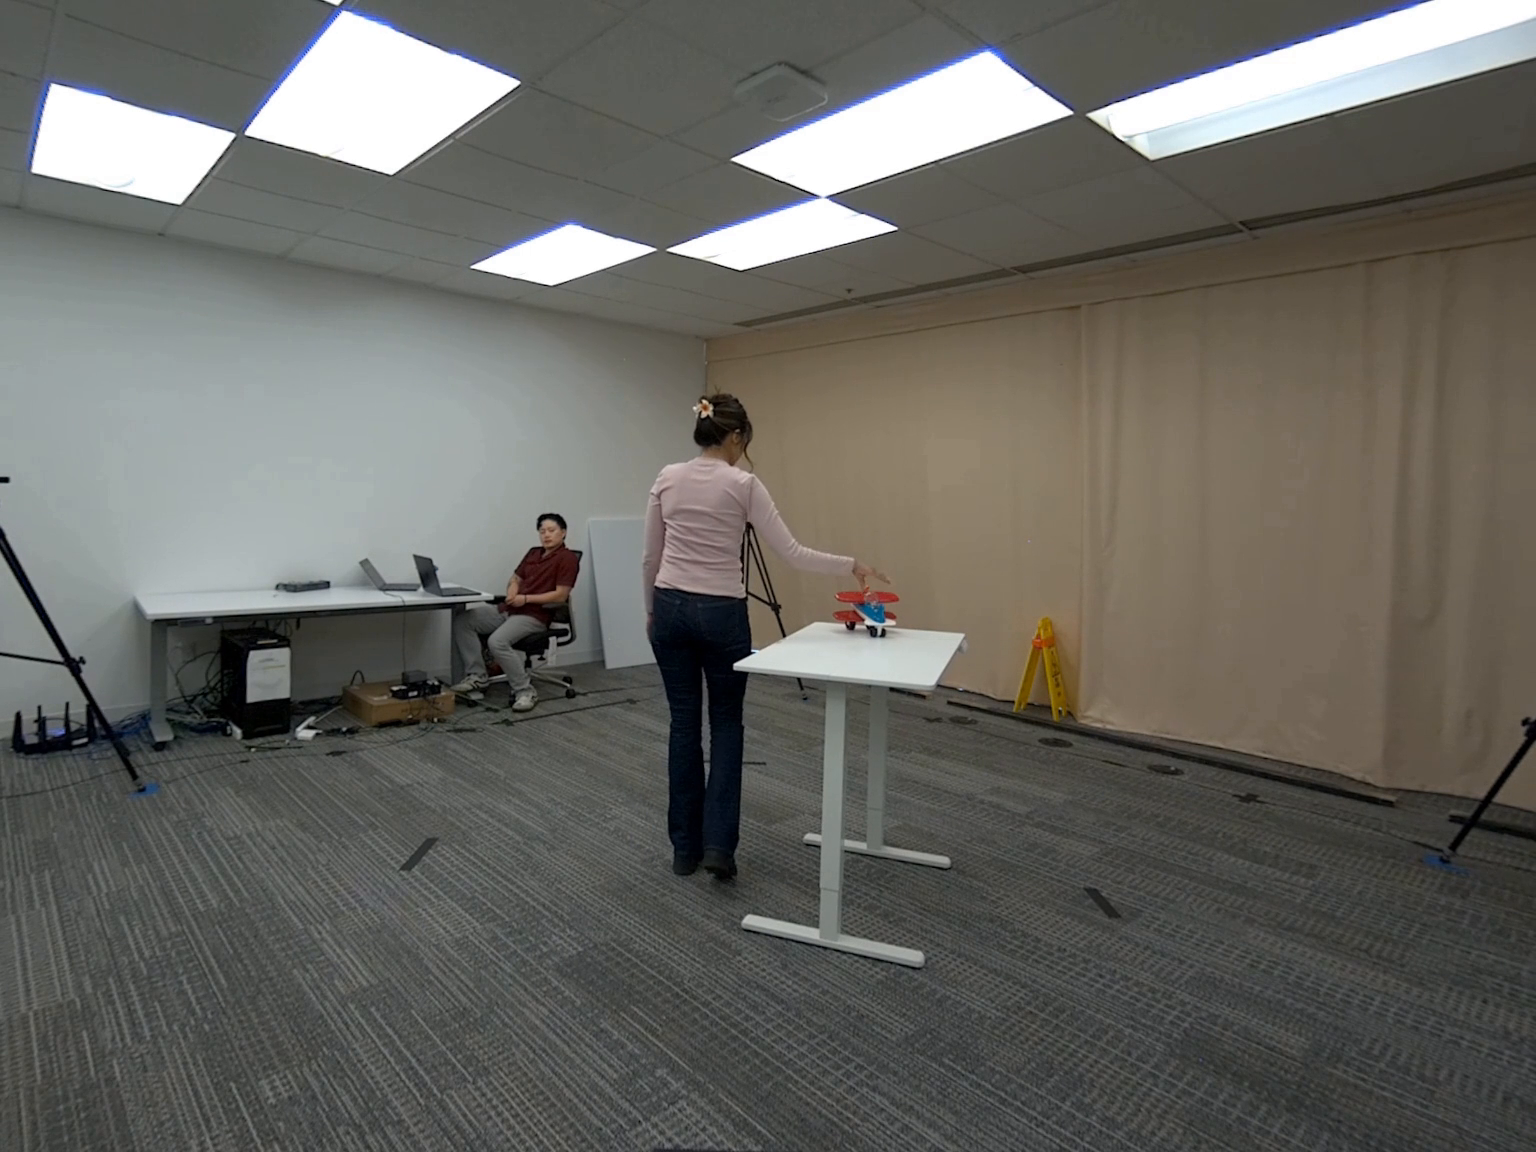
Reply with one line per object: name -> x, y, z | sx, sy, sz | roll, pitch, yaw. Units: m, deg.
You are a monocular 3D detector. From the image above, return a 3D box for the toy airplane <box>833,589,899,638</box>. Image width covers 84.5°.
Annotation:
toy airplane -> 0.394, 0.142, 3.248 | 0.245, 0.156, 0.266 | -1, 4, -40
